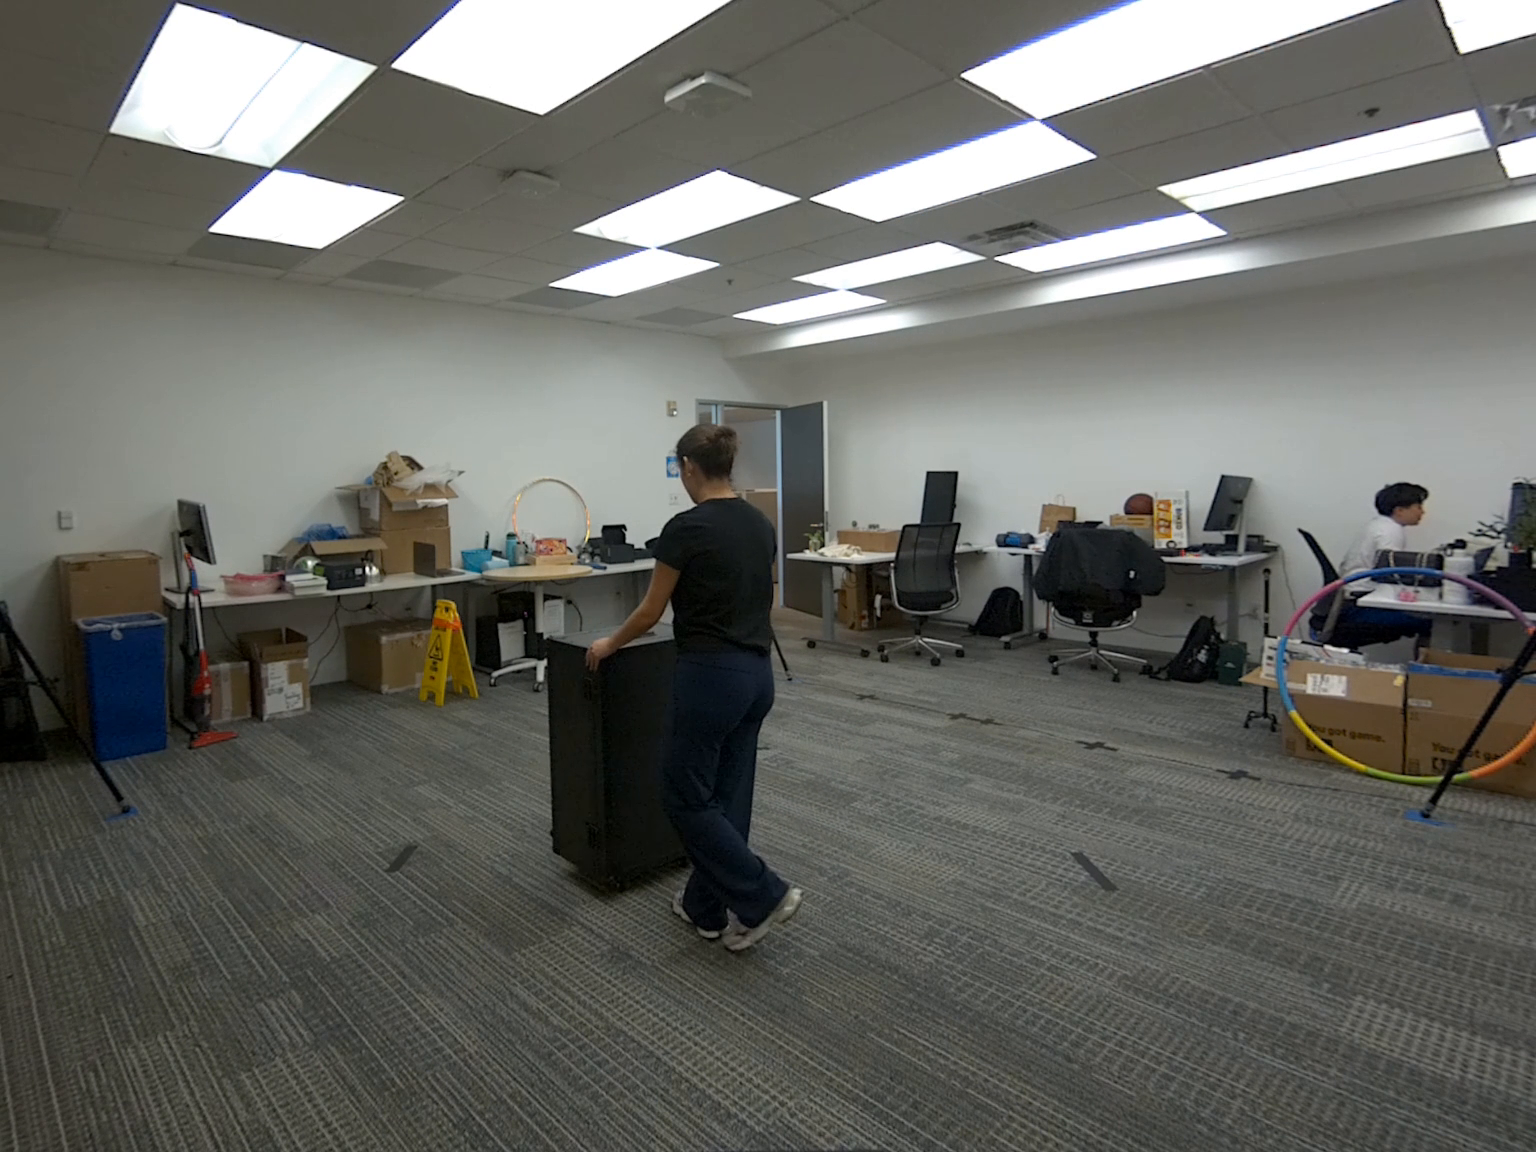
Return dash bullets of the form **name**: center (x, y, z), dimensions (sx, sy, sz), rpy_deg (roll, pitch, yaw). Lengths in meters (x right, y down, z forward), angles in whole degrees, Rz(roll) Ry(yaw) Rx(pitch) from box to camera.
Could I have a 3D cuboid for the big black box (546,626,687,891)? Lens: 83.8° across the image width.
- **big black box**: center (-0.499, 0.630, 3.082), dimensions (0.507, 0.859, 0.408), rpy_deg (-4, 4, -42)
